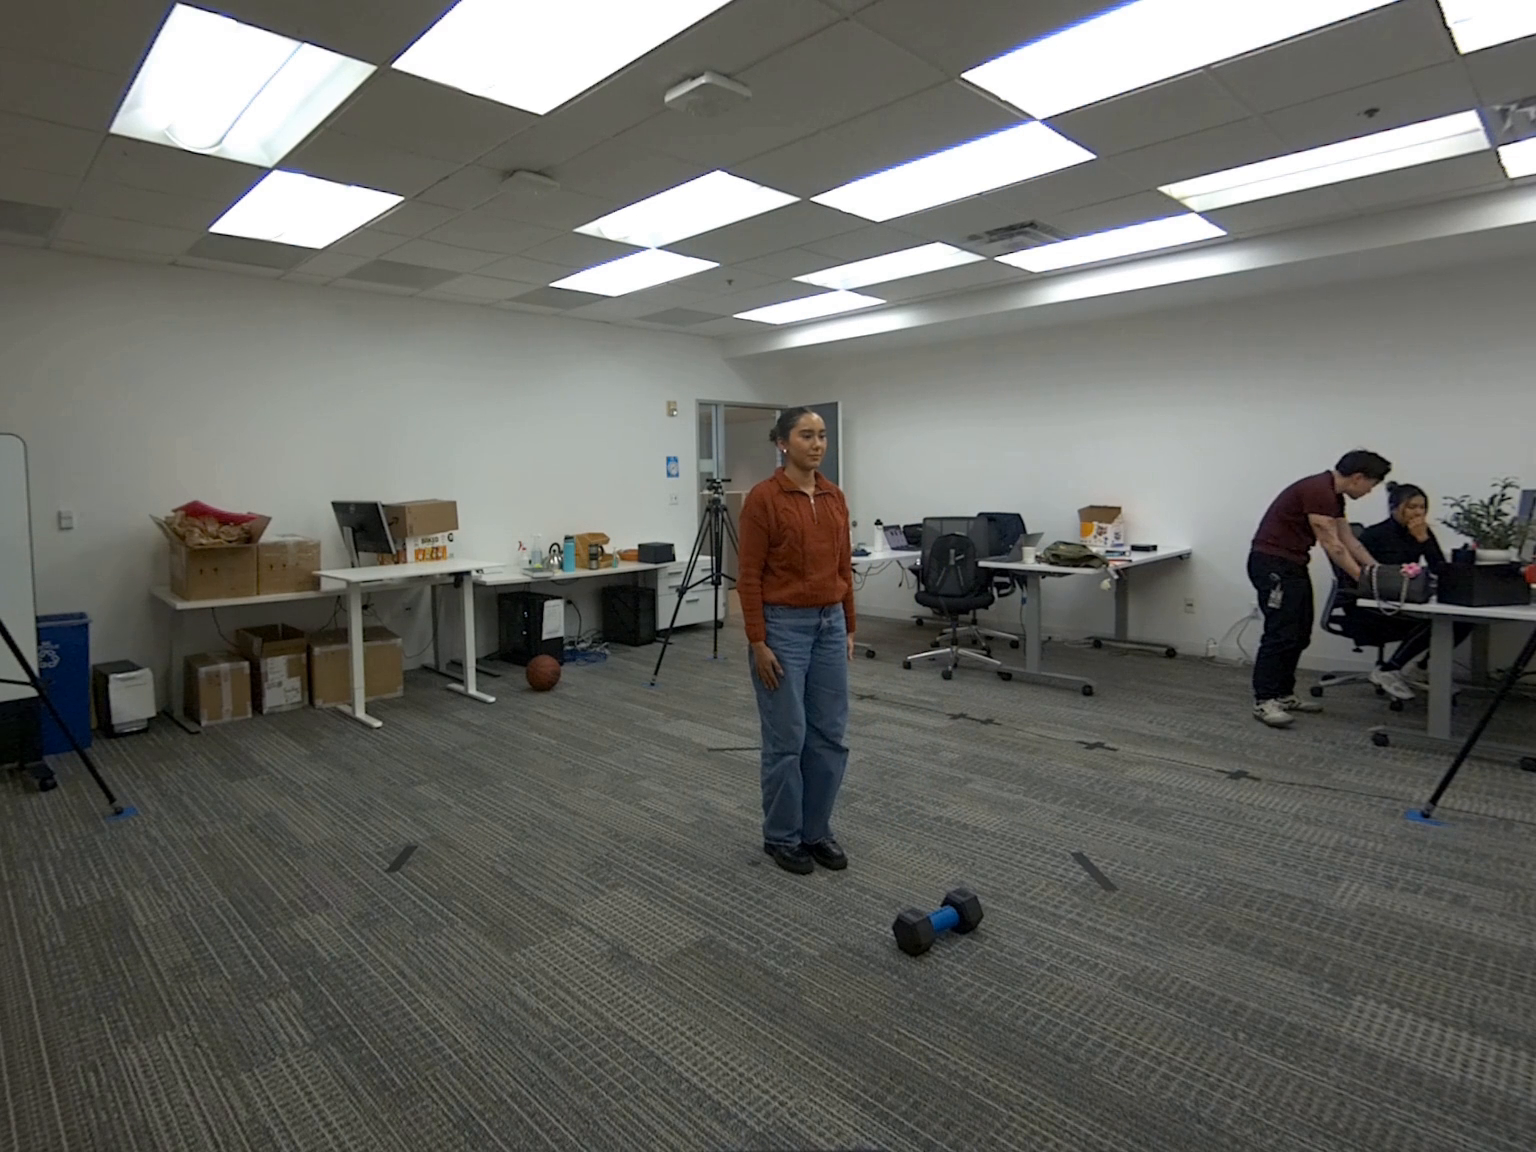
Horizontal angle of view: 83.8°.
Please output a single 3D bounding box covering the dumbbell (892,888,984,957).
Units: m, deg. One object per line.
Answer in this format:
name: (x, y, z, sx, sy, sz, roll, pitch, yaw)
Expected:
dumbbell: (0.522, 1.044, 2.570, 0.286, 0.126, 0.109, -5, -23, -35)
